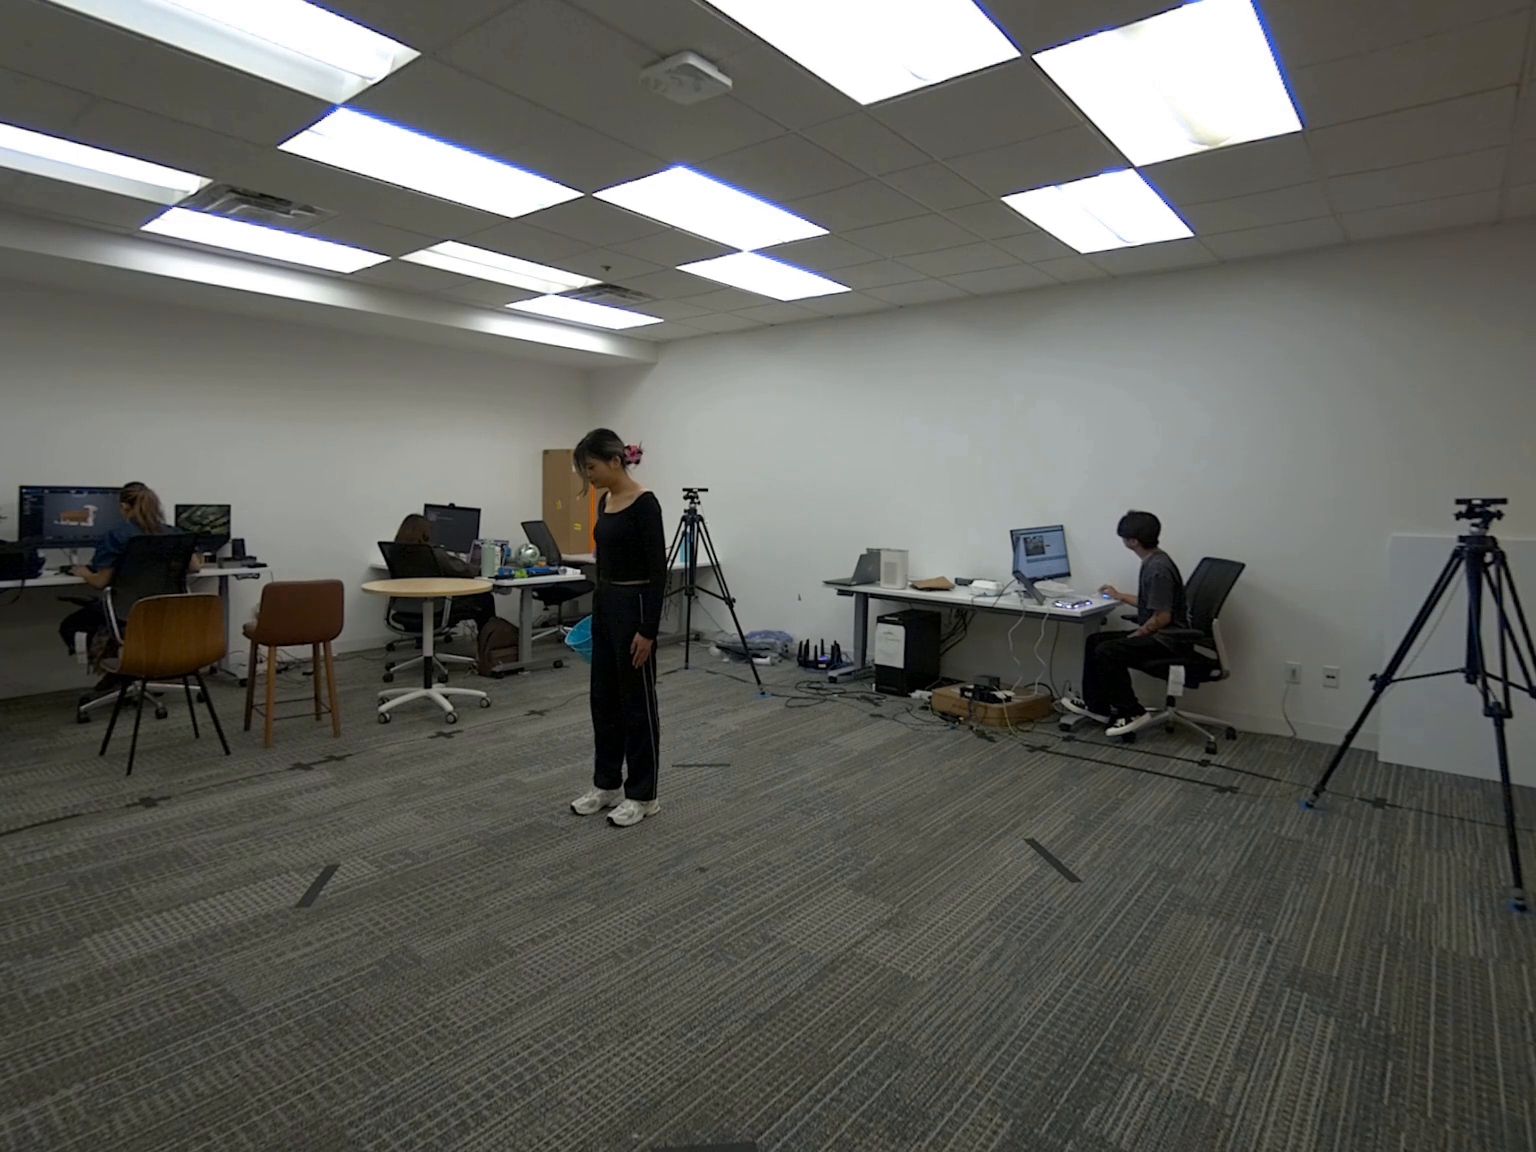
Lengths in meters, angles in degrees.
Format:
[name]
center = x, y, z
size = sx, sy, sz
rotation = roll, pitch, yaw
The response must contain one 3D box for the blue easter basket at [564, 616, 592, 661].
[blue easter basket]
center = -0.828, 0.301, 3.968
size = 0.245, 0.151, 0.249
rotation = -27, 24, 10
